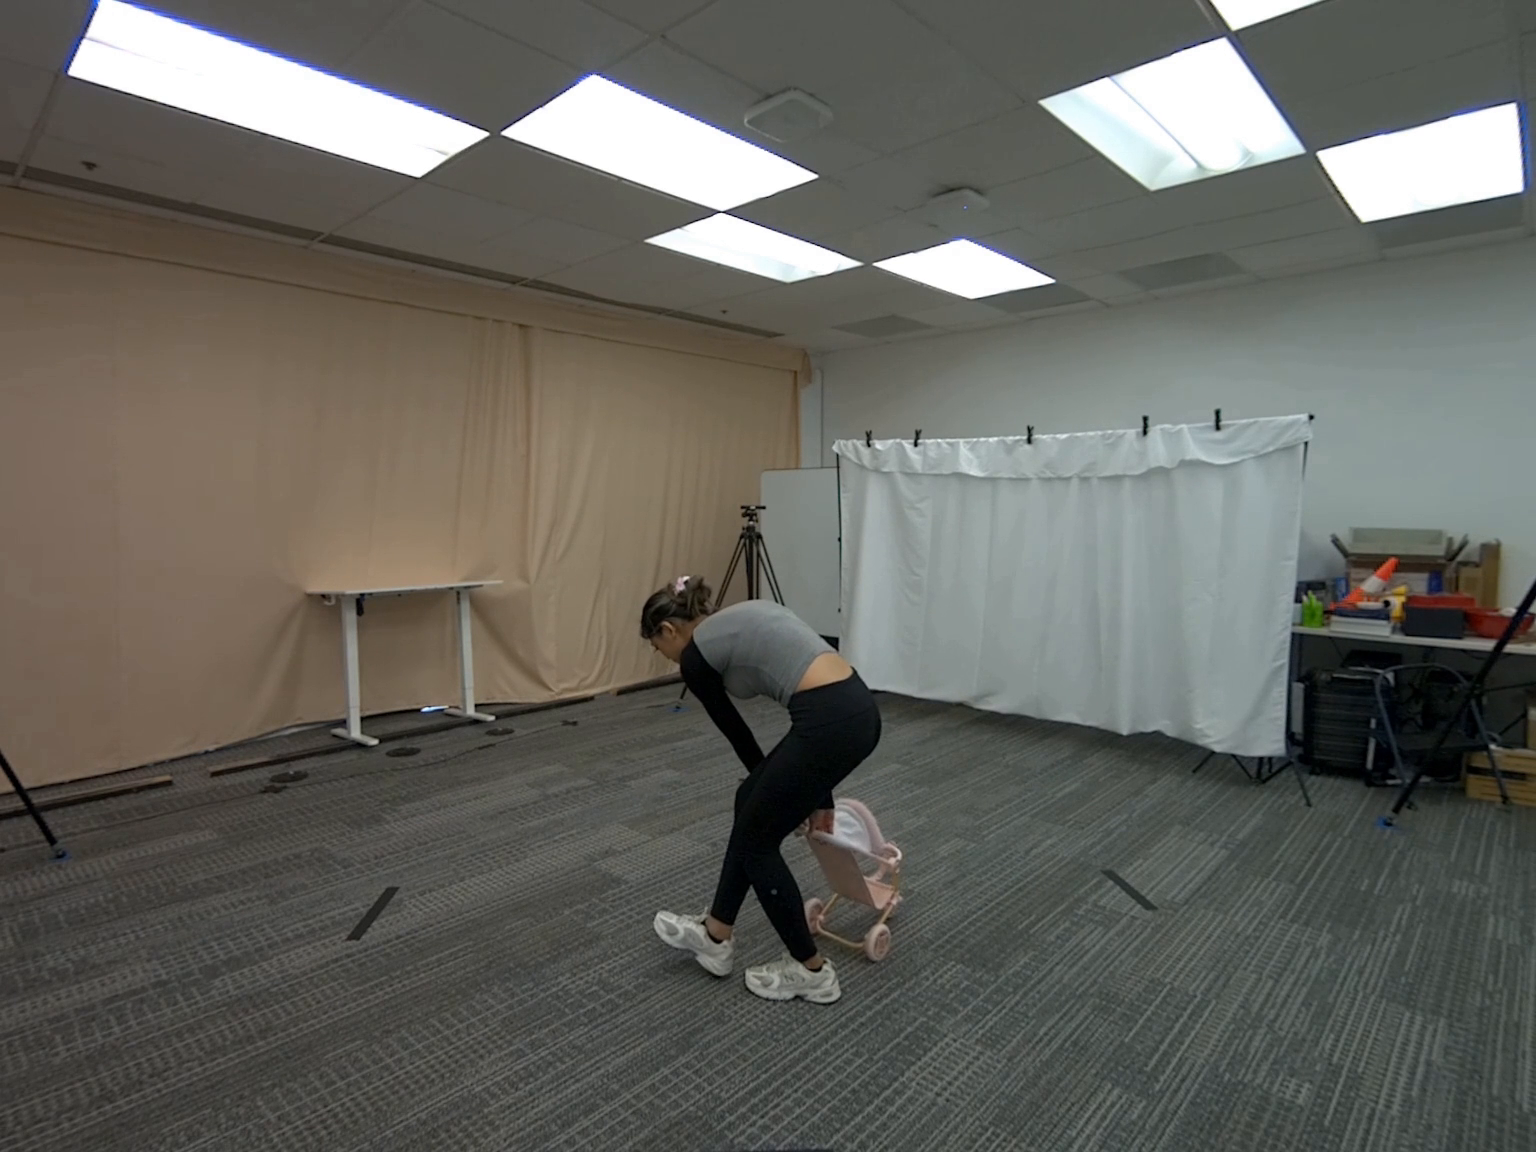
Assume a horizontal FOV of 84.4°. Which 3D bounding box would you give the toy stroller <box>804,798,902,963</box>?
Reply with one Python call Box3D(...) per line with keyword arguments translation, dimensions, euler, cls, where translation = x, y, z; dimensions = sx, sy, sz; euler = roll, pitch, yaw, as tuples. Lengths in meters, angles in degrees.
Box3D(translation=(0.284, 0.942, 2.694), dimensions=(0.291, 0.528, 0.334), euler=(3, 22, 46), cls="toy stroller")
